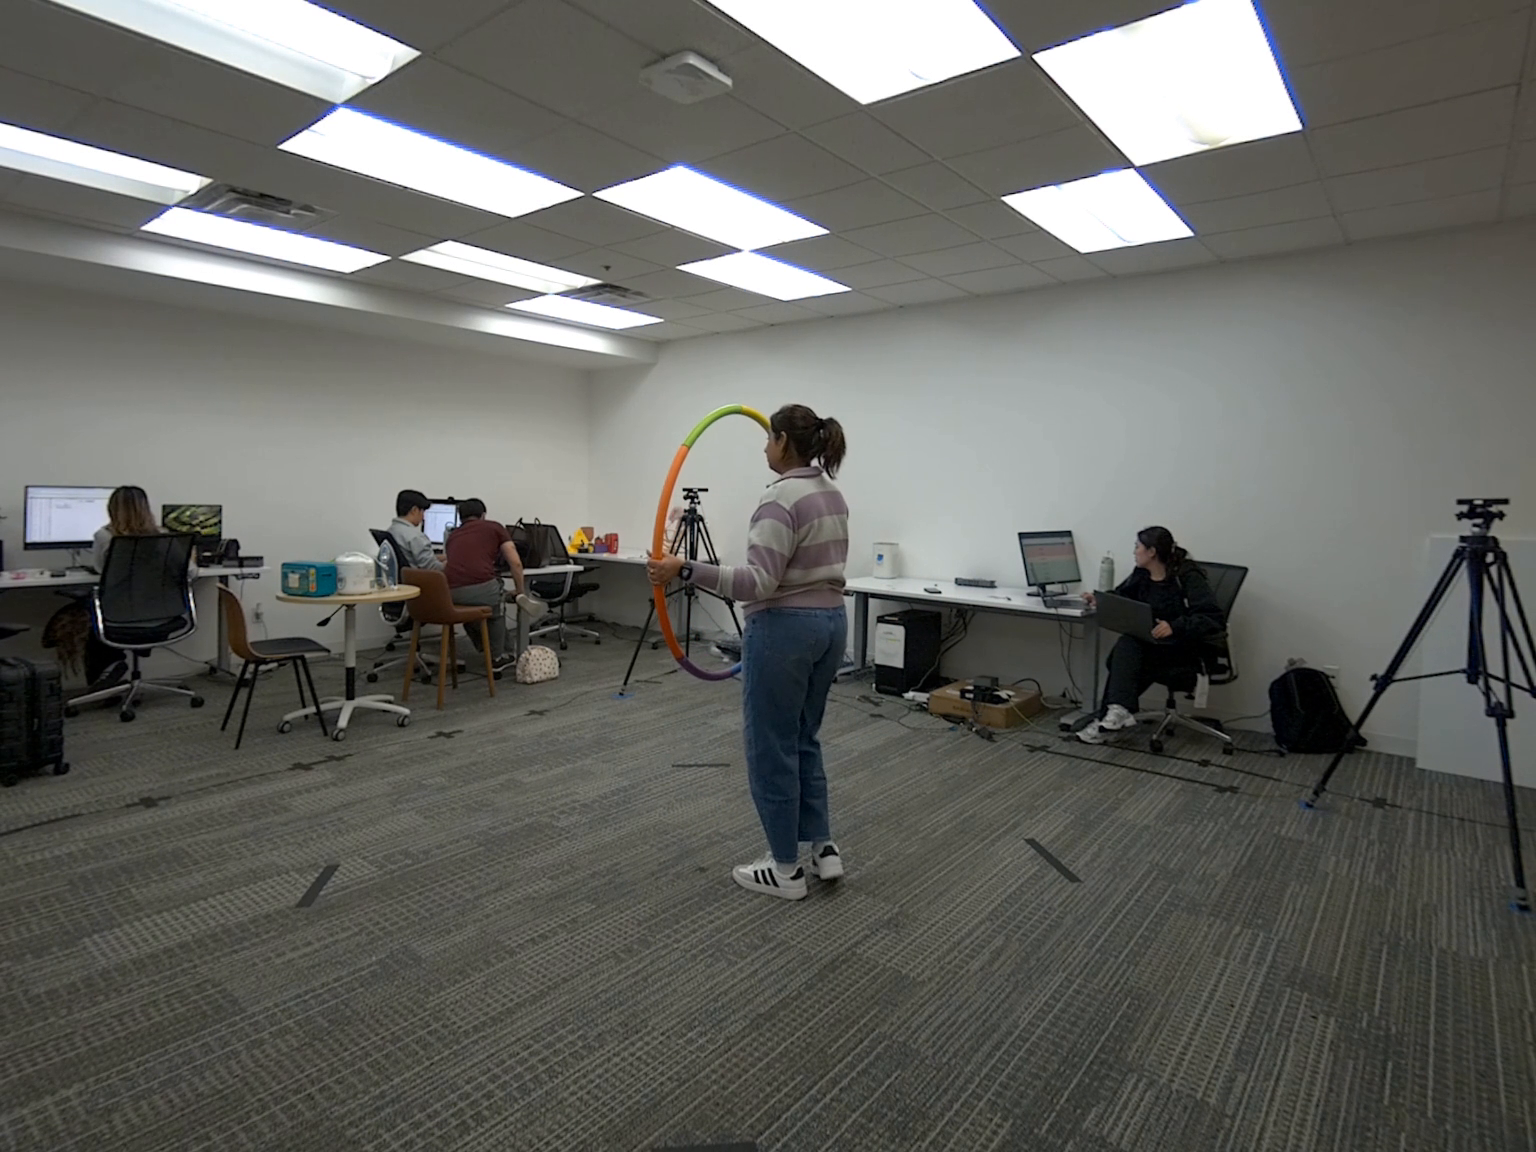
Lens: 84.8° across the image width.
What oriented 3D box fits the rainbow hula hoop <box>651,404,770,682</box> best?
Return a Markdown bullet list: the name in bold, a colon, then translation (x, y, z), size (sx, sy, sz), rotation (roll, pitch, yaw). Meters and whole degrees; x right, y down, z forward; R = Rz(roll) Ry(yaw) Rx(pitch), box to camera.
- **rainbow hula hoop**: translation (-0.126, -0.119, 3.065), size (0.036, 0.975, 0.953), rotation (5, 6, 29)
